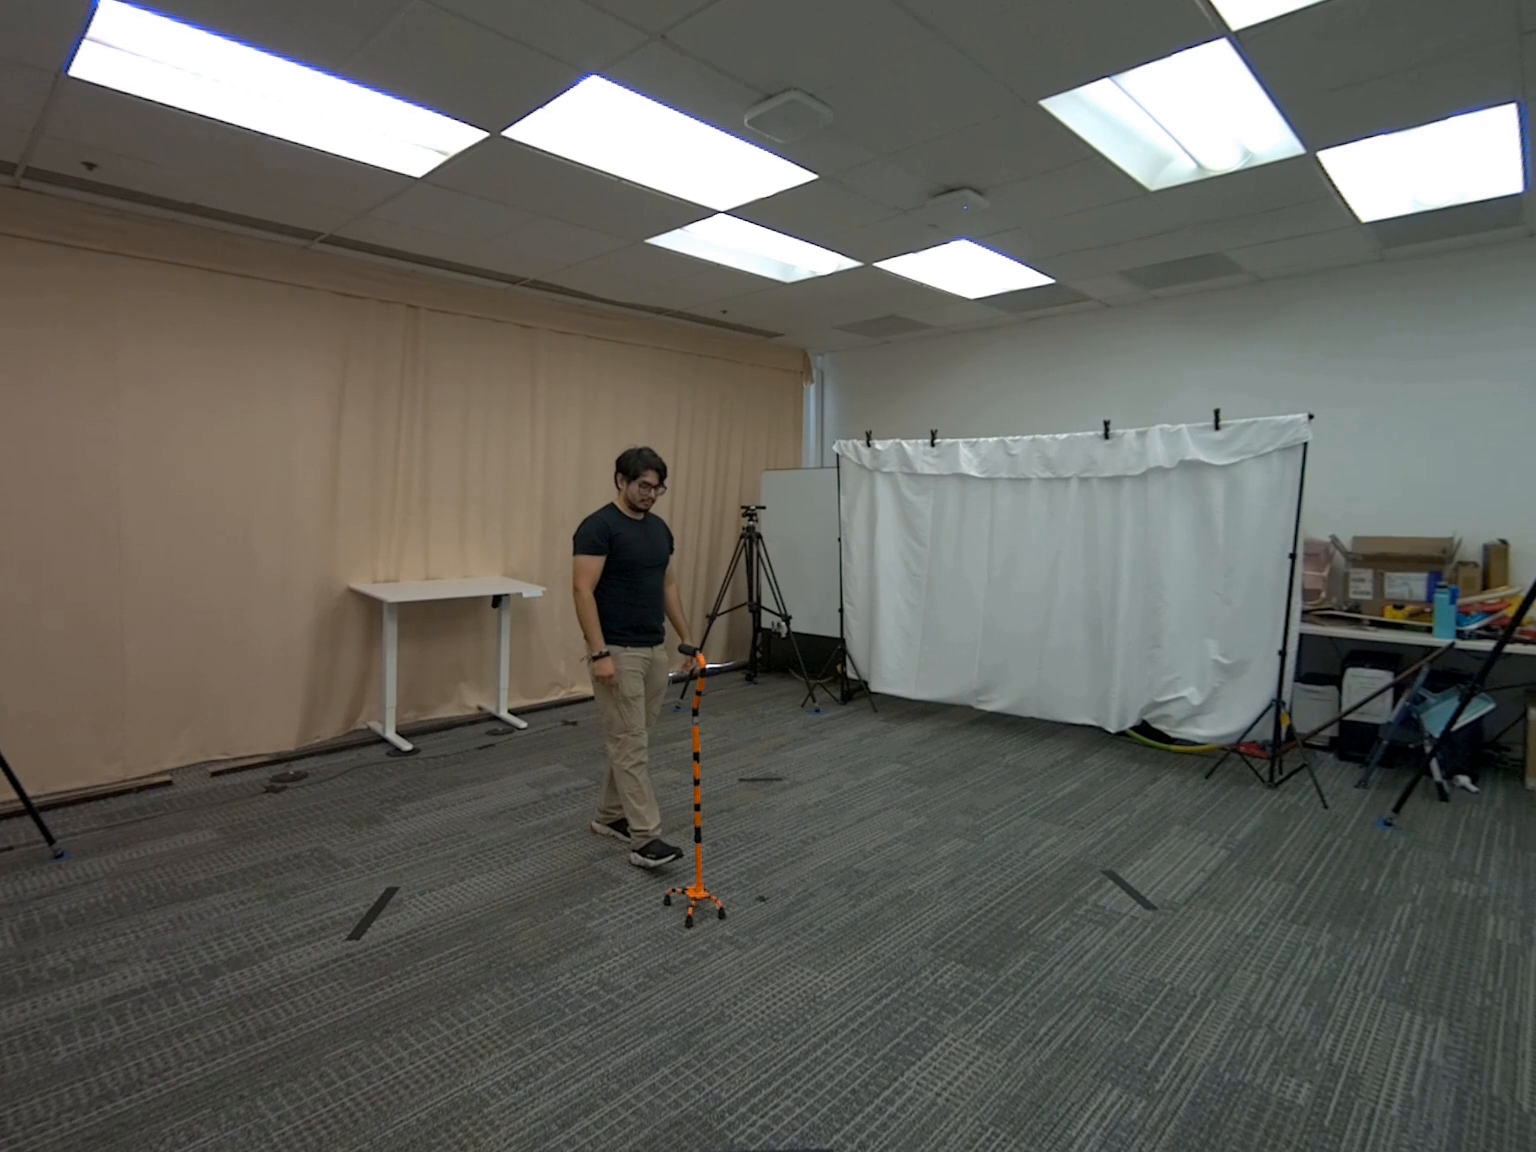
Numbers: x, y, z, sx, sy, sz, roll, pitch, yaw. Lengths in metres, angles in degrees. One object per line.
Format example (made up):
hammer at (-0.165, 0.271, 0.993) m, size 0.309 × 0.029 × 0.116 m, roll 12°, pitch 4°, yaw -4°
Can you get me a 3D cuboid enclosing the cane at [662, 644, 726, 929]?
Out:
cane at (-0.259, 0.702, 2.879) m, size 0.148 × 0.906 × 0.212 m, roll -2°, pitch 2°, yaw -28°
